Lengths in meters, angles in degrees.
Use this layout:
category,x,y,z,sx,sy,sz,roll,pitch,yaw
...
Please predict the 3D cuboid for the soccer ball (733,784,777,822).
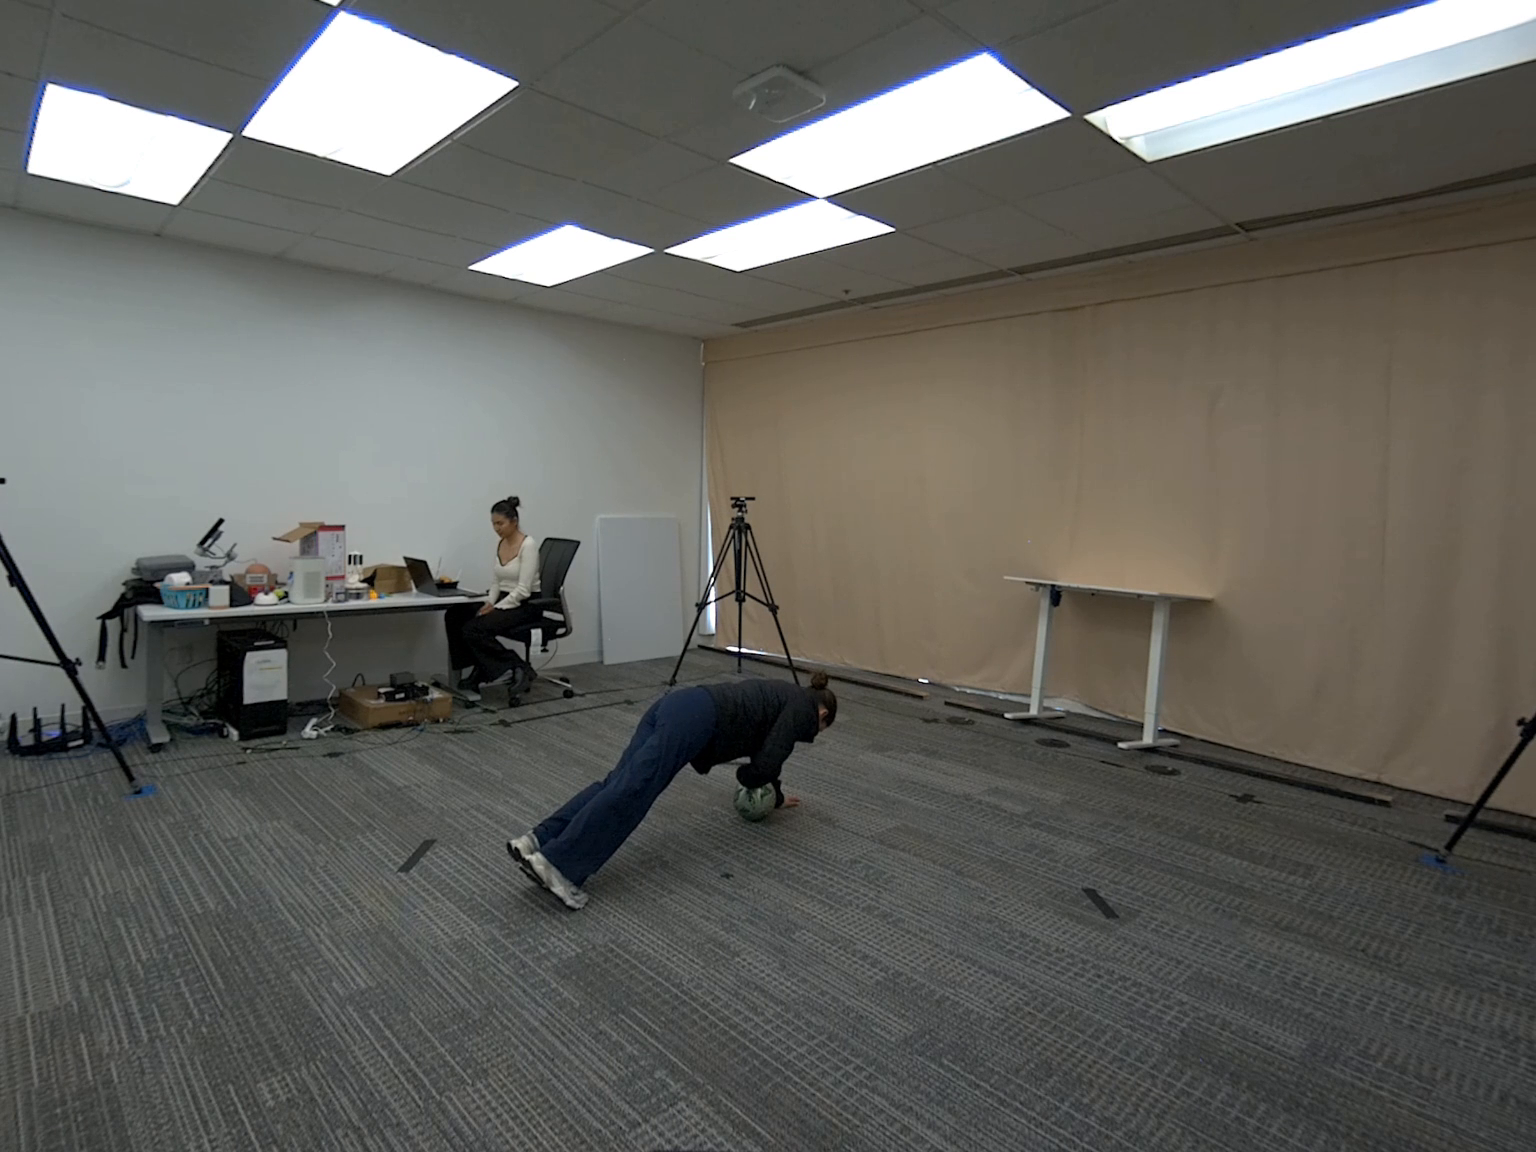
category,x,y,z,sx,sy,sz,roll,pitch,yaw
soccer ball,-0.068,0.971,3.667,0.187,0.187,0.188,1,4,-1
